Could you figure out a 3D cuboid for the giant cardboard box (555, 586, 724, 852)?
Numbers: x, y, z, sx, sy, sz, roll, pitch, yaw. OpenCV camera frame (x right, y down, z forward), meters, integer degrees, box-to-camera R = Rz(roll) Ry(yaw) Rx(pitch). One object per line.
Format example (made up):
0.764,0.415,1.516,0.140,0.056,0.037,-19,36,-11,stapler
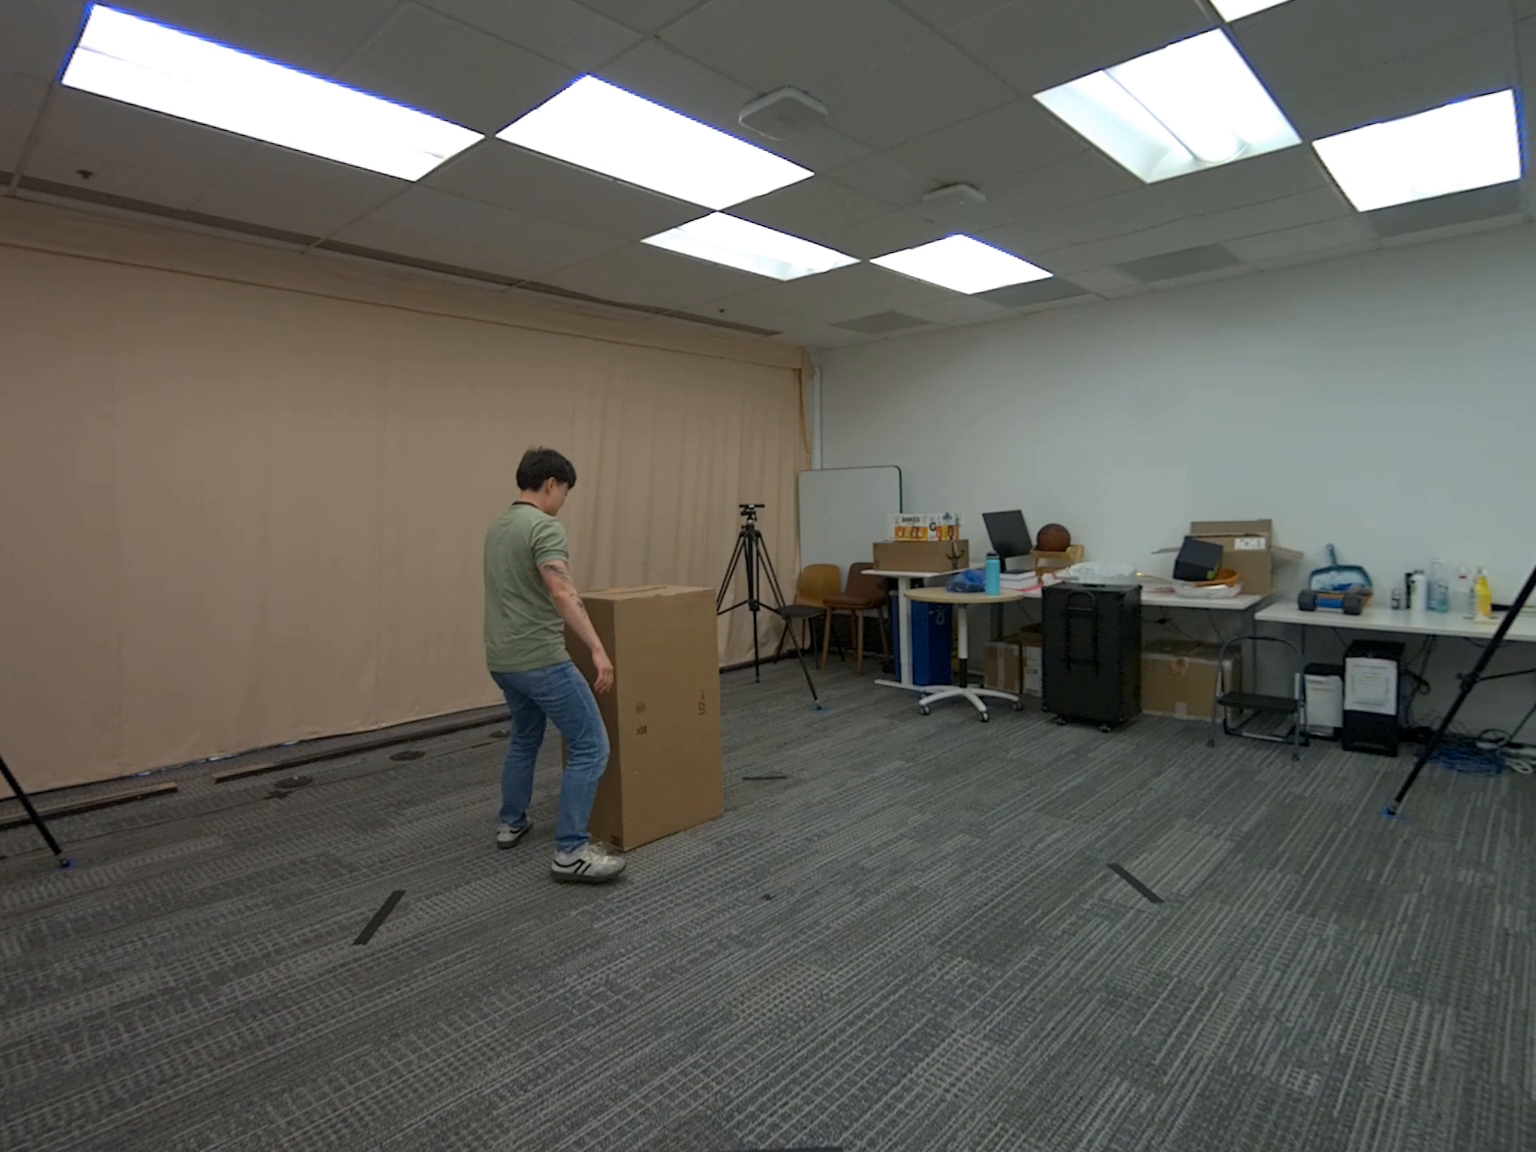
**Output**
-0.562,0.576,3.722,0.440,1.024,0.560,1,4,44,giant cardboard box
